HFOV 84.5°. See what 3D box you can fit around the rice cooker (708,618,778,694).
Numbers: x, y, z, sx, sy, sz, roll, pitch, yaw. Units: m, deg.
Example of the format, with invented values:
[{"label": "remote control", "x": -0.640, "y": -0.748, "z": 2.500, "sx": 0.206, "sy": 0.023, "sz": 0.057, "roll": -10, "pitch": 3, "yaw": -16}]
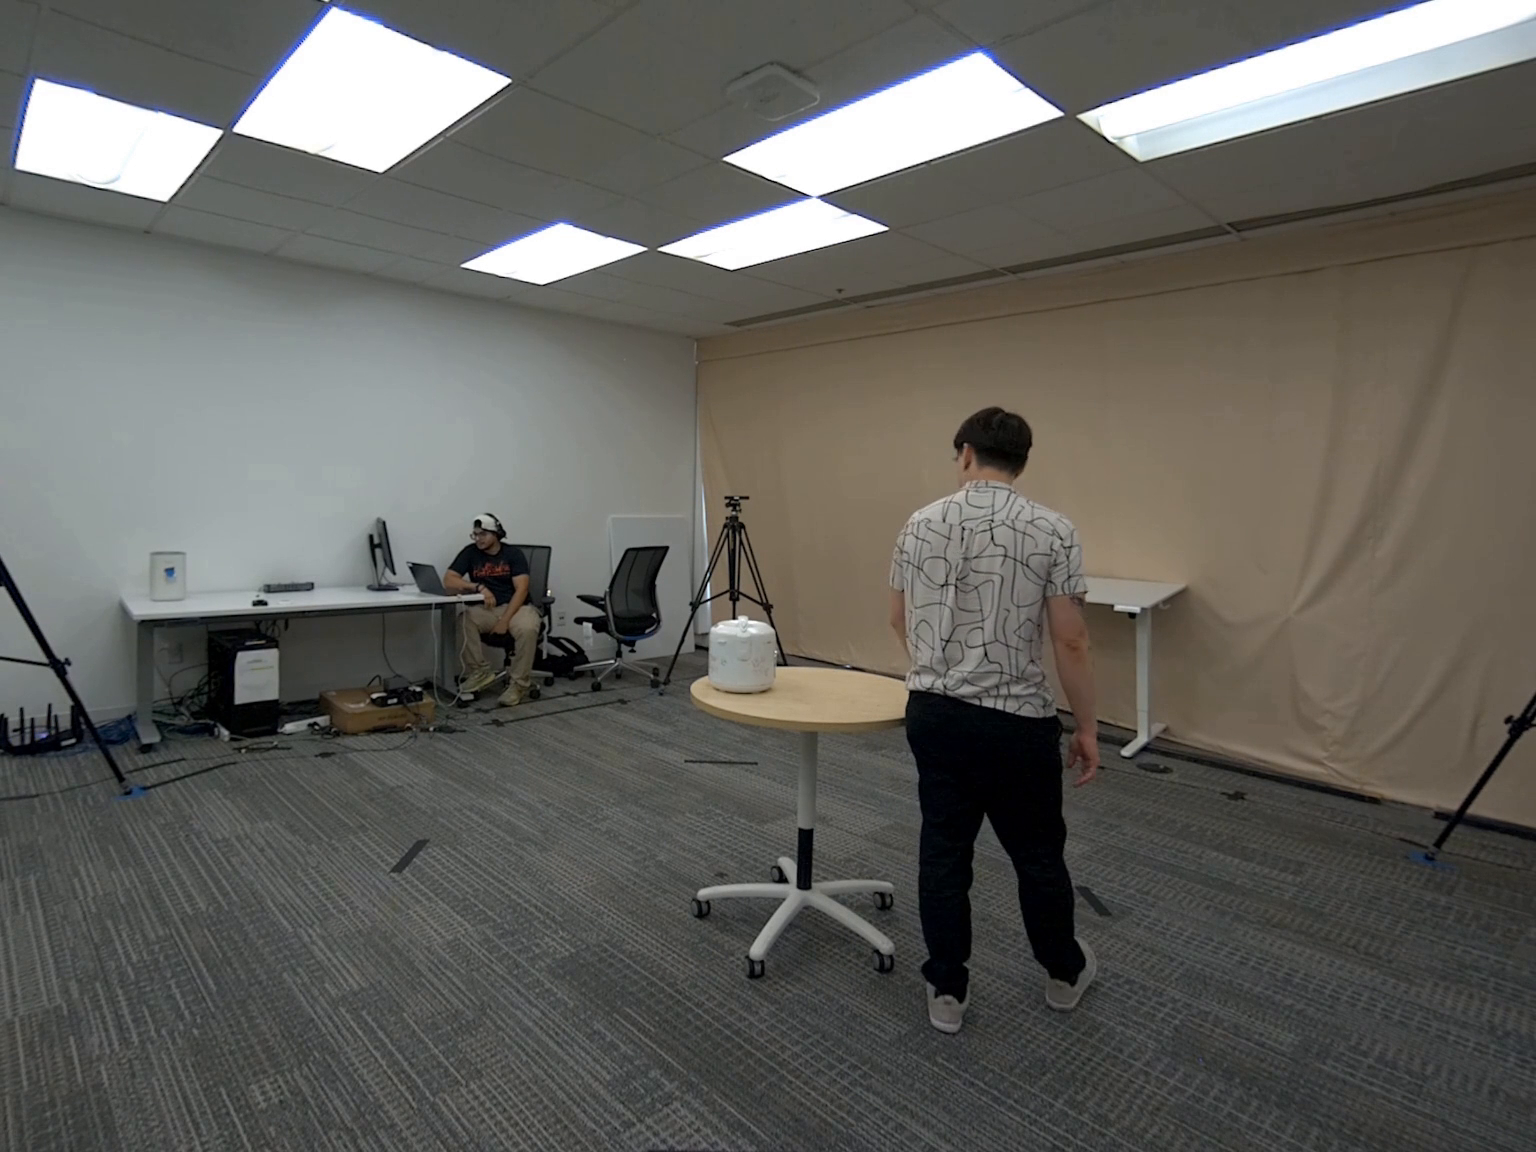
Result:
[{"label": "rice cooker", "x": -0.085, "y": 0.242, "z": 2.686, "sx": 0.217, "sy": 0.232, "sz": 0.221, "roll": 1, "pitch": 4, "yaw": -2}]
